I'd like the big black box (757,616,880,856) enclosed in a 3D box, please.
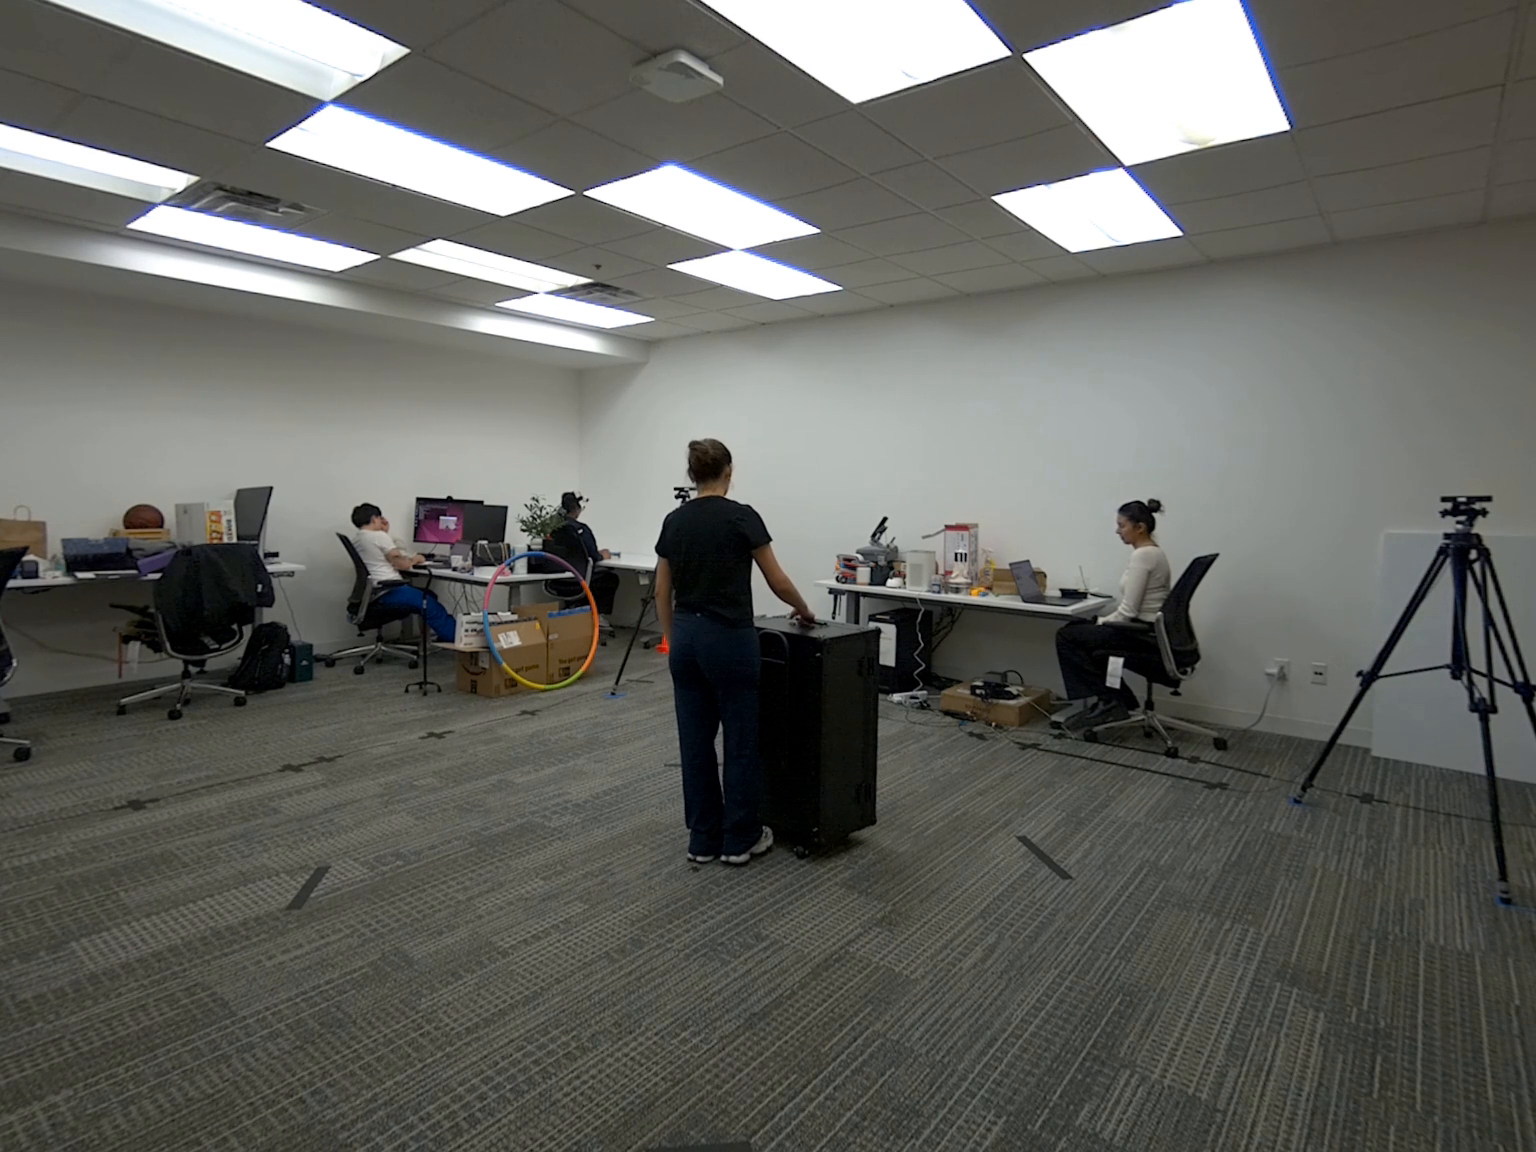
[{"bbox_3d":[0.150,0.556,3.410,0.384,0.858,0.539,-3,6,-44],"label":"big black box"}]
